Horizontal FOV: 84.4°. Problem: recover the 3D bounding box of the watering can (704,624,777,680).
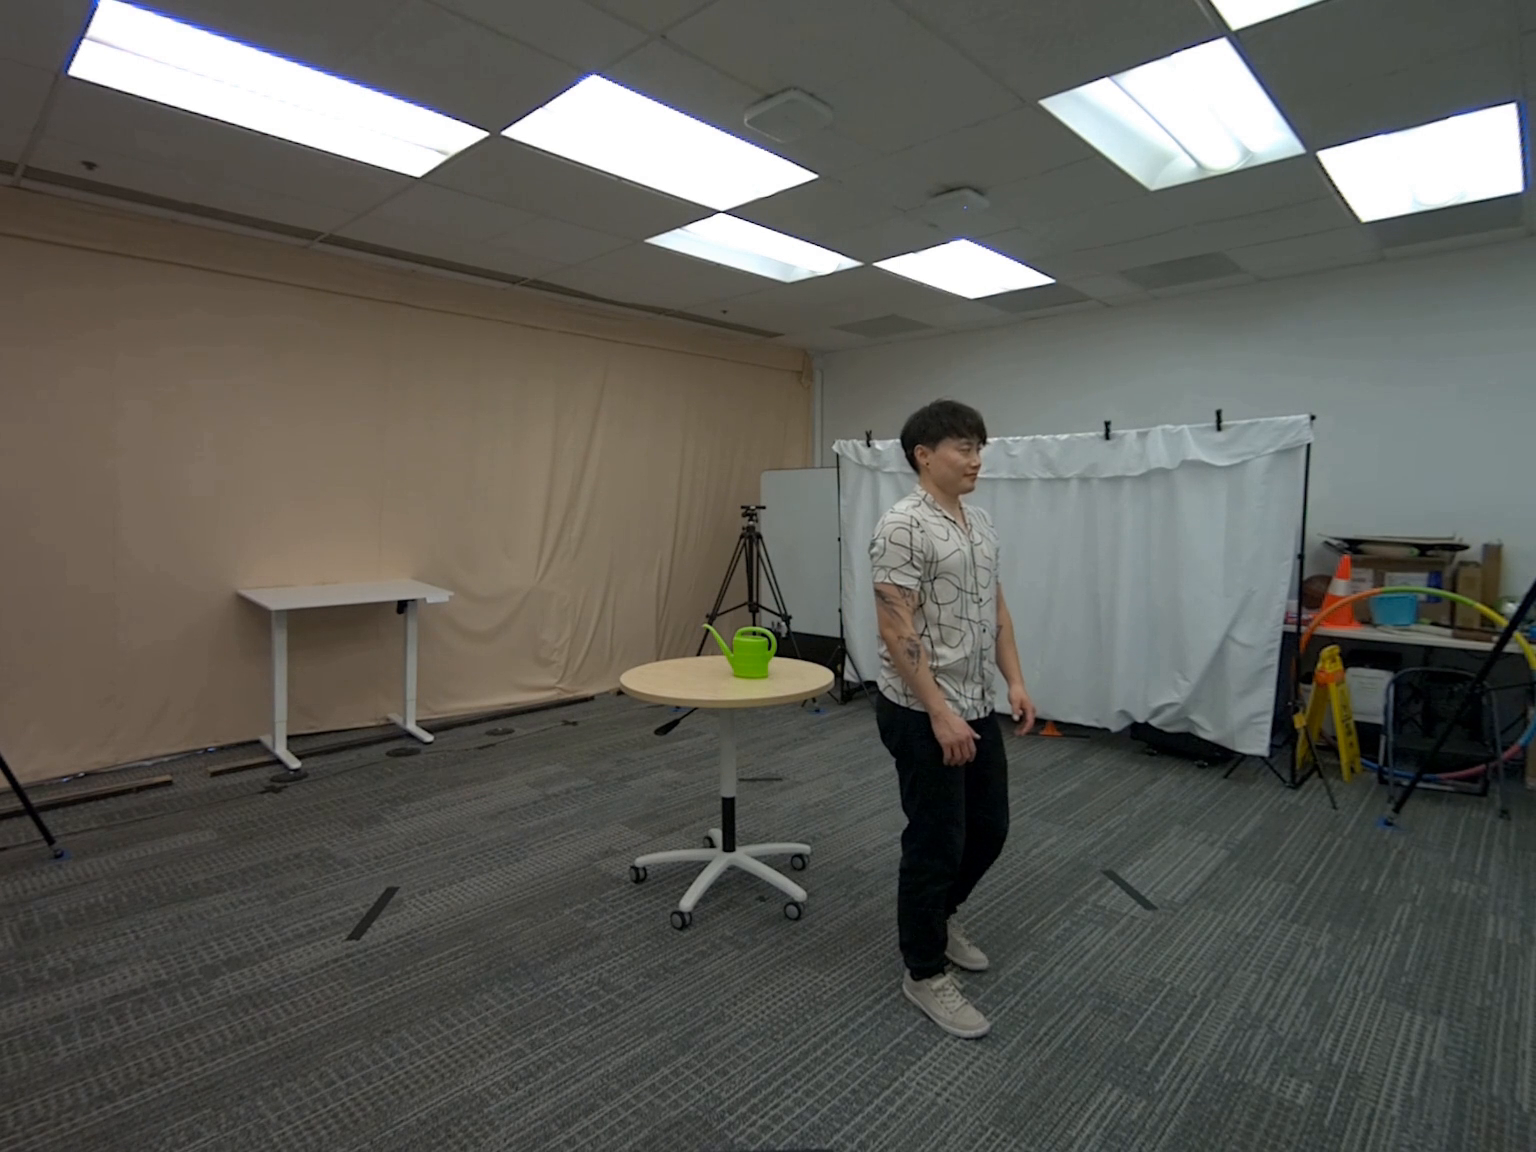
[{"bbox_3d":[-0.095,0.269,3.021,0.286,0.176,0.095,4,4,31],"label":"watering can"}]
